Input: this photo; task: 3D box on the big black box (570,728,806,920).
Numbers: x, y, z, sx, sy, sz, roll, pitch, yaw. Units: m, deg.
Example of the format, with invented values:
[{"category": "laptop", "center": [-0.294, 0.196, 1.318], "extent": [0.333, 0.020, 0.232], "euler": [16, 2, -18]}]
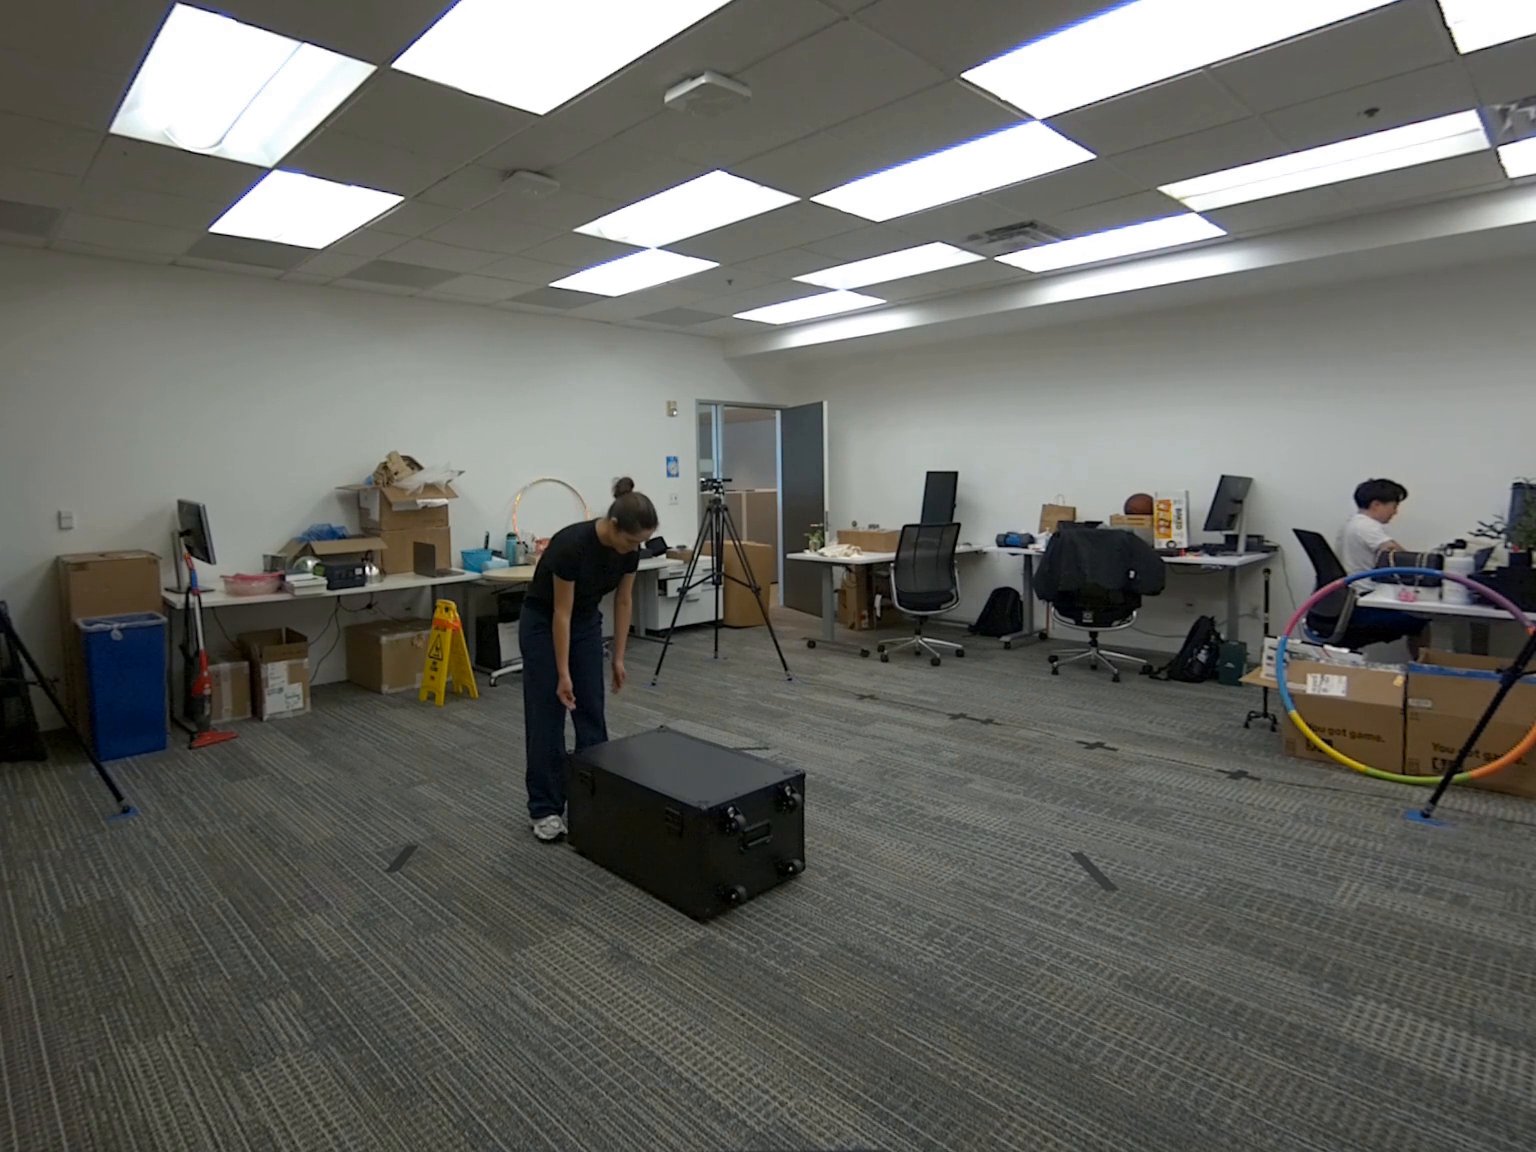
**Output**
[{"category": "big black box", "center": [-0.297, 0.861, 3.090], "extent": [0.508, 0.394, 0.888], "euler": [-7, 8, -45]}]
